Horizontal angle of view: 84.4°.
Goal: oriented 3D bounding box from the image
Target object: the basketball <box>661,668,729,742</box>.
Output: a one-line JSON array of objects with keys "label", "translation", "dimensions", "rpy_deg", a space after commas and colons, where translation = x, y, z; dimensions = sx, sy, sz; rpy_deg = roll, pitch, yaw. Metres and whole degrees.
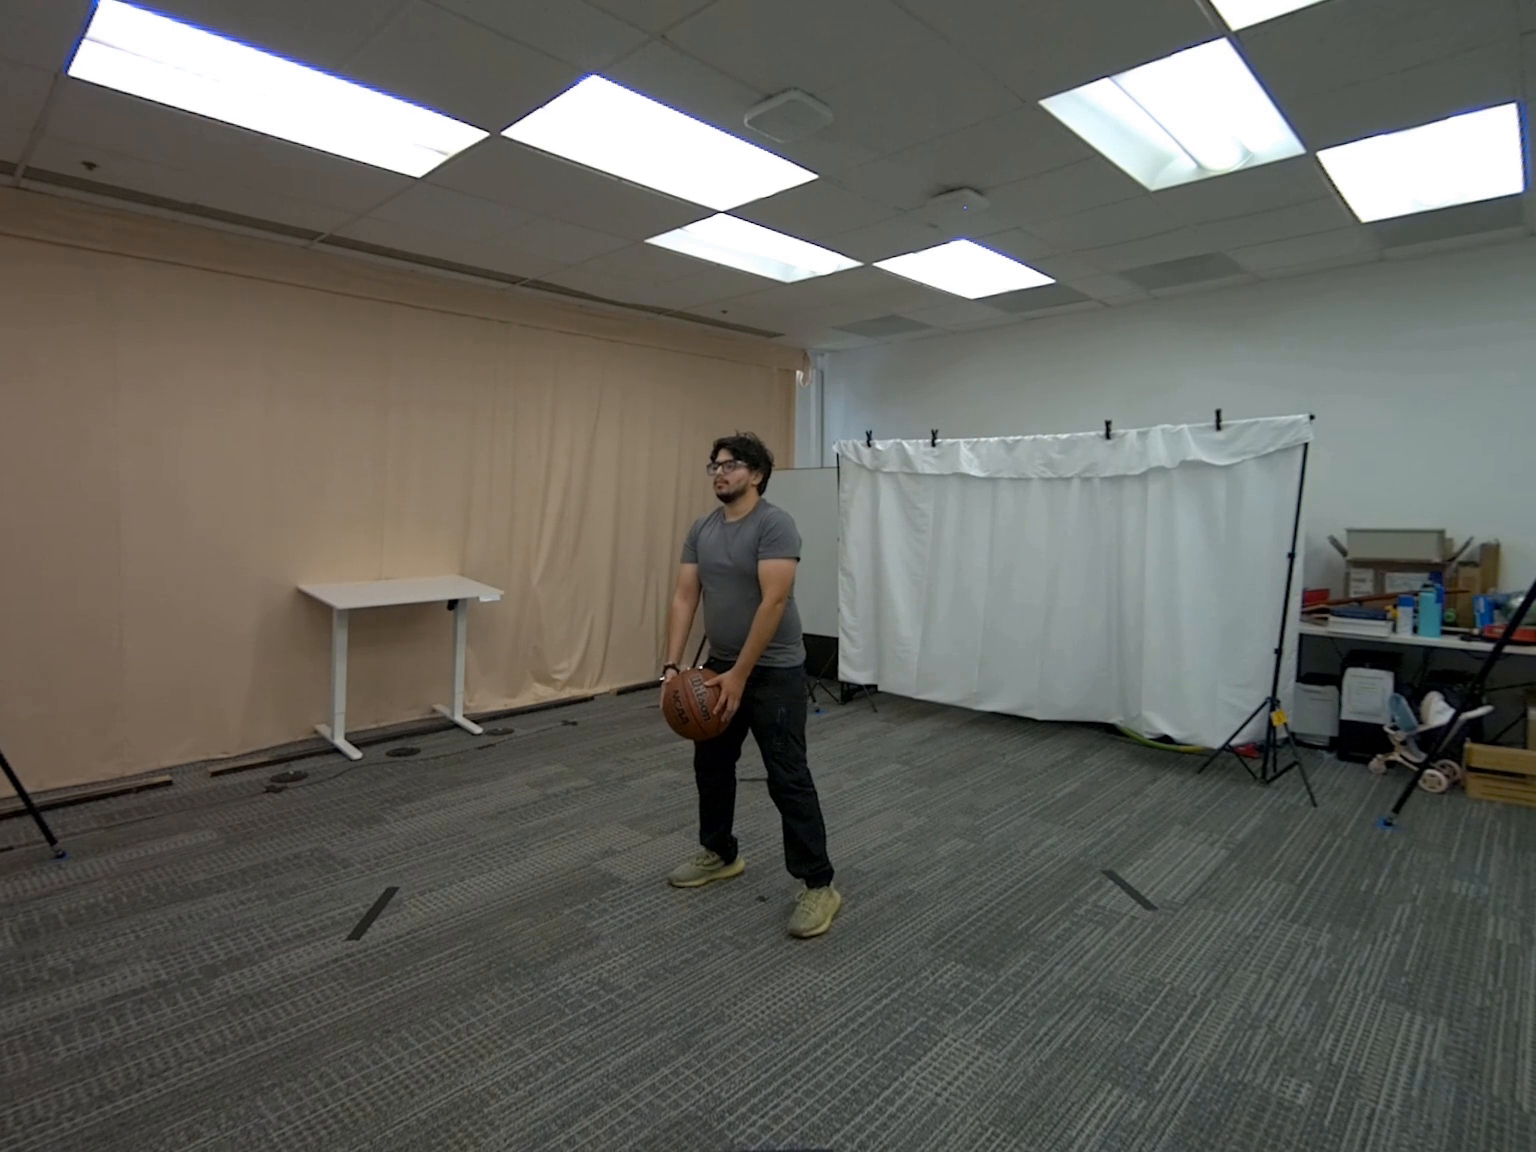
[{"label": "basketball", "translation": [-0.227, 0.421, 2.791], "dimensions": [0.236, 0.235, 0.237], "rpy_deg": [0, 4, -2]}]
